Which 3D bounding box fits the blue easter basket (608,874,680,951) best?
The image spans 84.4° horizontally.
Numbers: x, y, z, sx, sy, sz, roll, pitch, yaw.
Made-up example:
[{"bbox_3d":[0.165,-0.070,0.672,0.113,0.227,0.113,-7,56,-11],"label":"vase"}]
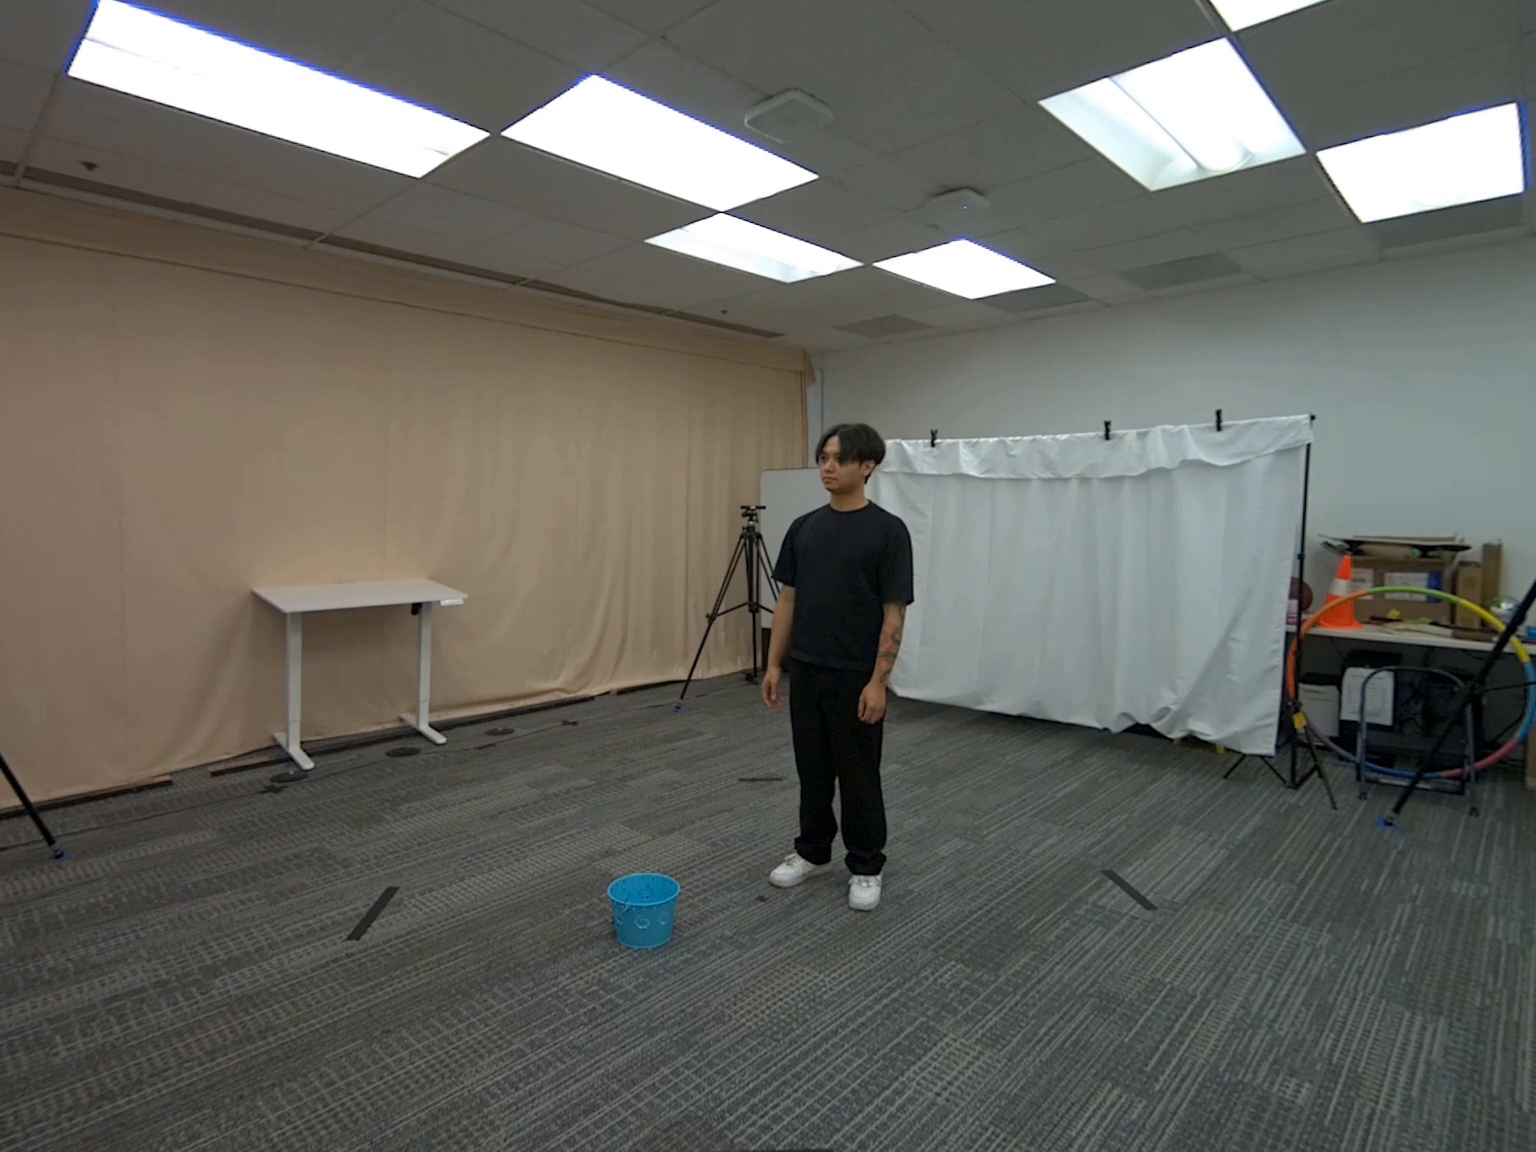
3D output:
[{"bbox_3d":[-0.404,1.090,2.739,0.243,0.155,0.244,0,4,-2],"label":"blue easter basket"}]
